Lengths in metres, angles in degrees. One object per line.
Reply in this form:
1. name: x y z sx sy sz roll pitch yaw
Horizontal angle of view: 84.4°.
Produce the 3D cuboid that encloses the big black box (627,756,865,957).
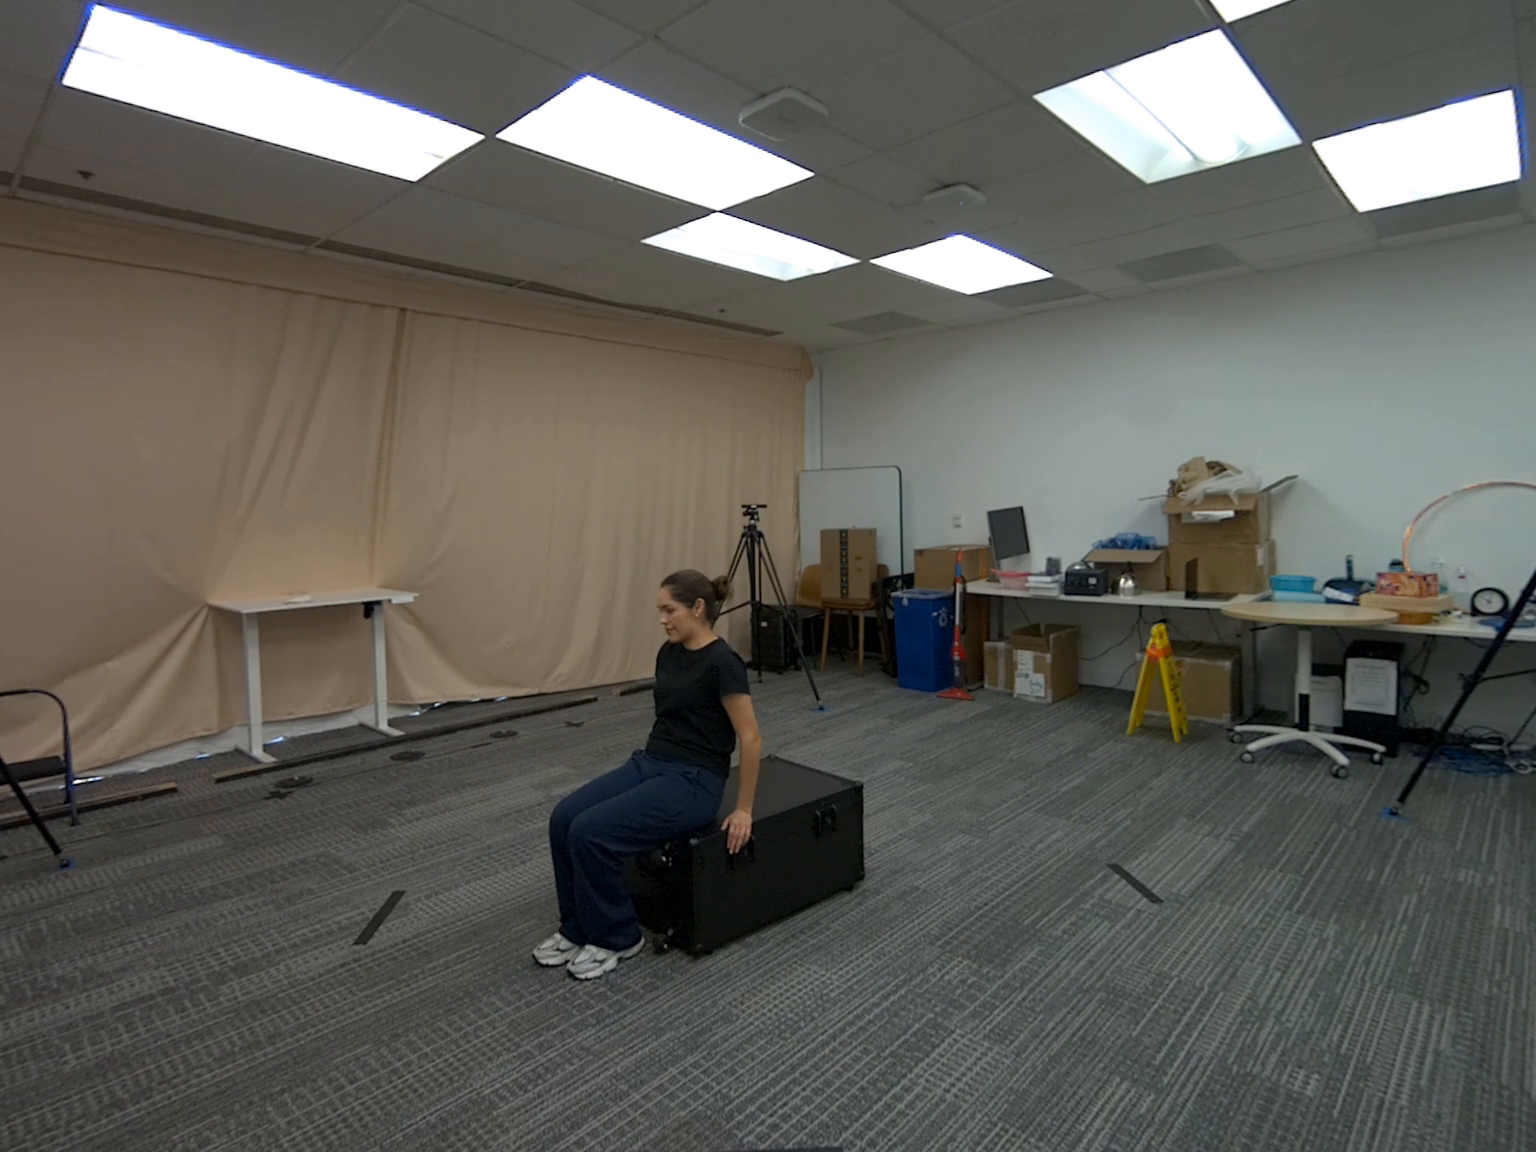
1. big black box: -0.059 0.953 3.004 0.836 0.395 0.538 -7 7 -40
